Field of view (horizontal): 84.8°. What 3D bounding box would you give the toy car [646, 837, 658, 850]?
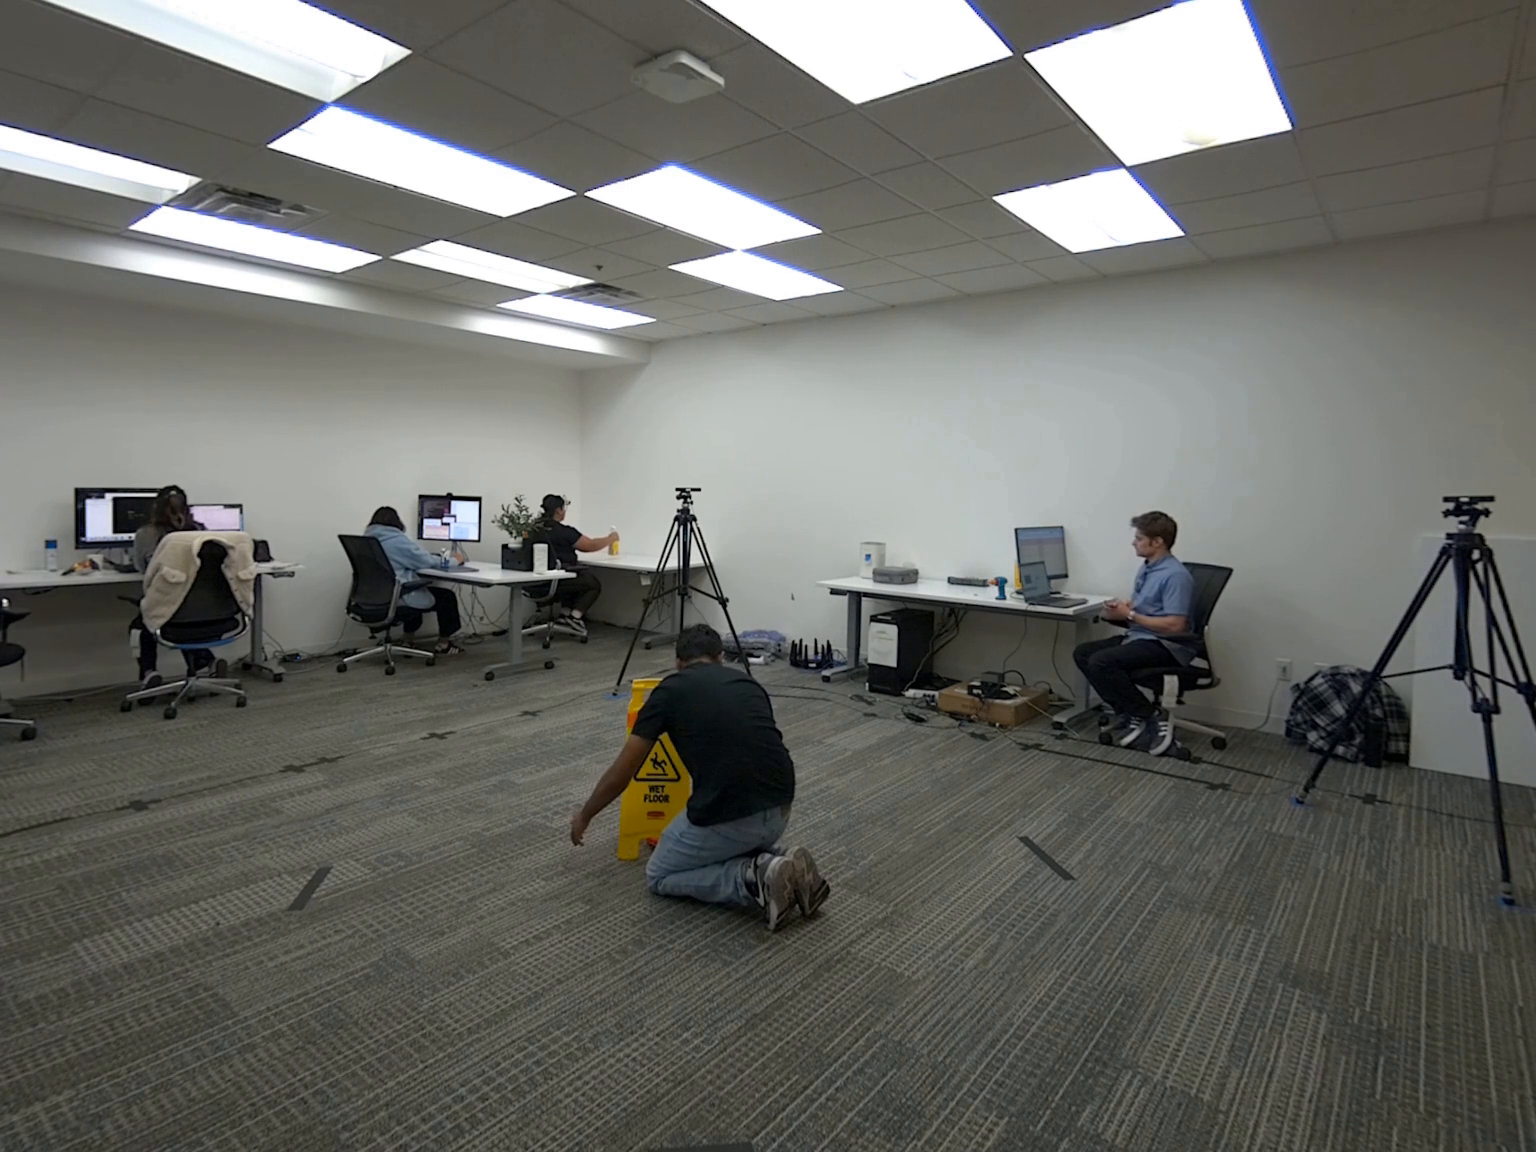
[{"bbox_3d":[-0.368,1.011,3.344,0.249,0.082,0.134,-17,13,-40],"label":"toy car"}]
